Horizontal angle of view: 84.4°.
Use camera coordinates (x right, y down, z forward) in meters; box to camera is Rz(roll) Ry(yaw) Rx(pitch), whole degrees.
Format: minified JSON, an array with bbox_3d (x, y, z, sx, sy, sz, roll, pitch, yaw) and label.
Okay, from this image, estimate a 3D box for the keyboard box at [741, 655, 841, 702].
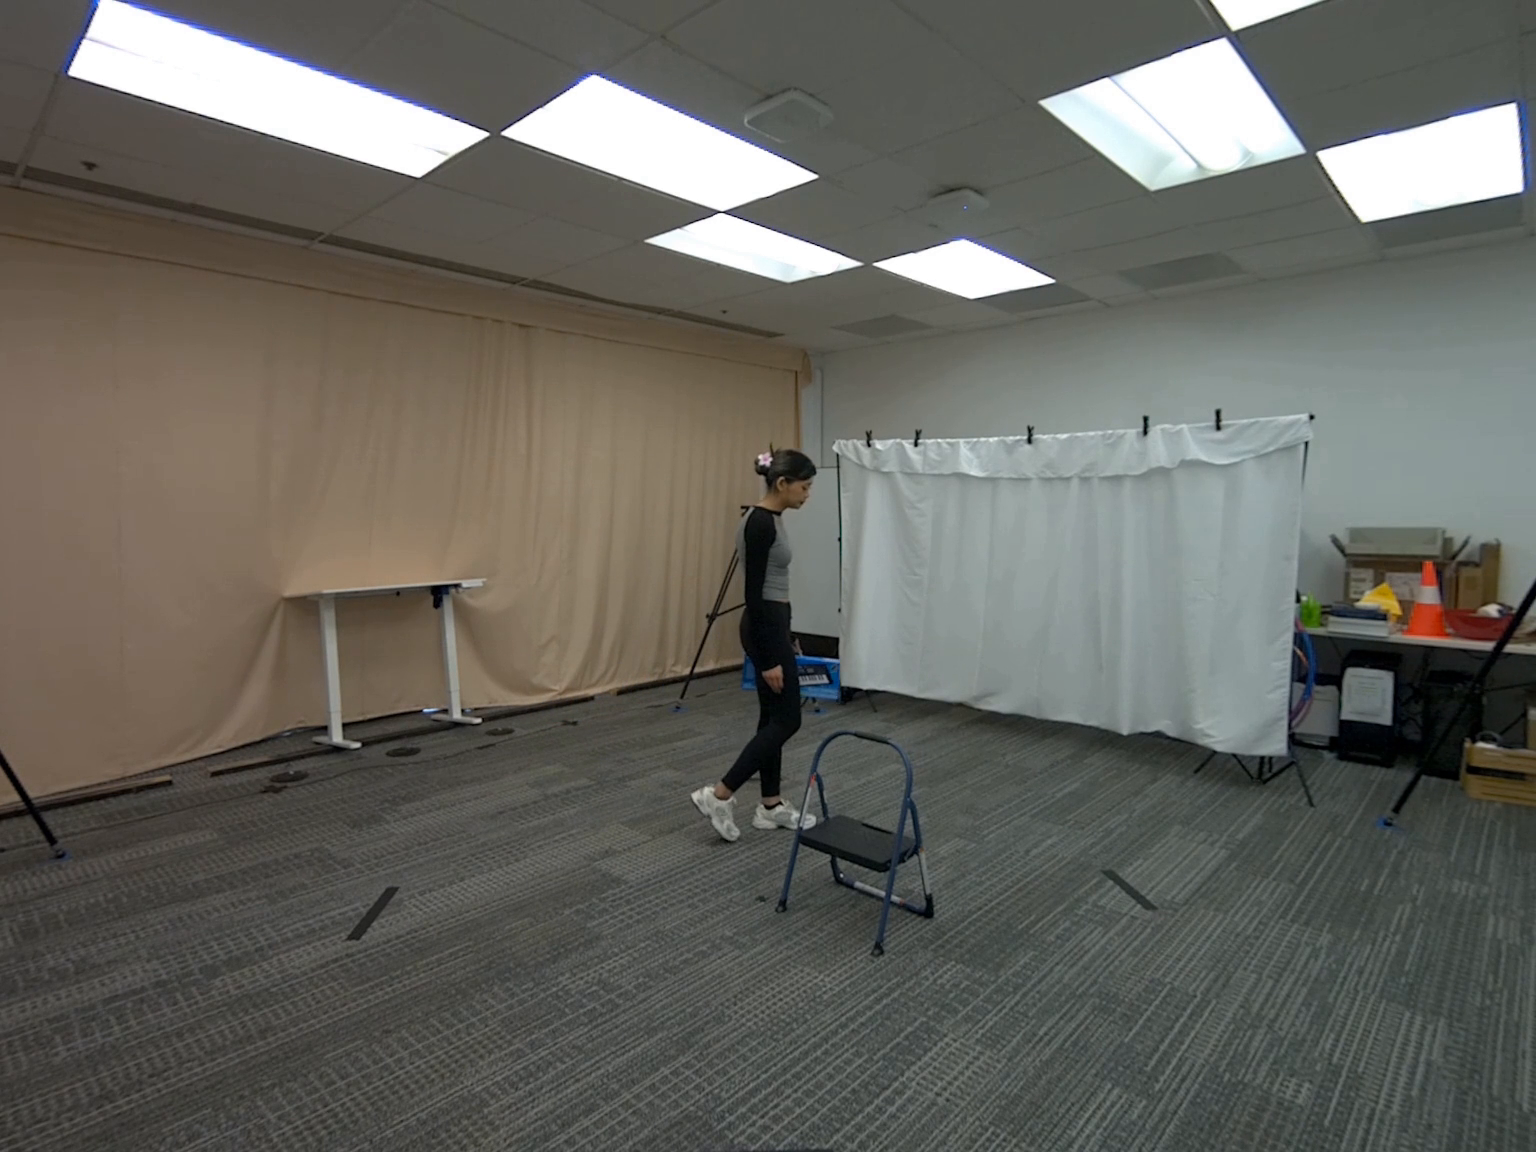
[{"bbox_3d":[0.106,0.449,3.846,0.440,0.175,0.059,6,6,7],"label":"keyboard box"}]
